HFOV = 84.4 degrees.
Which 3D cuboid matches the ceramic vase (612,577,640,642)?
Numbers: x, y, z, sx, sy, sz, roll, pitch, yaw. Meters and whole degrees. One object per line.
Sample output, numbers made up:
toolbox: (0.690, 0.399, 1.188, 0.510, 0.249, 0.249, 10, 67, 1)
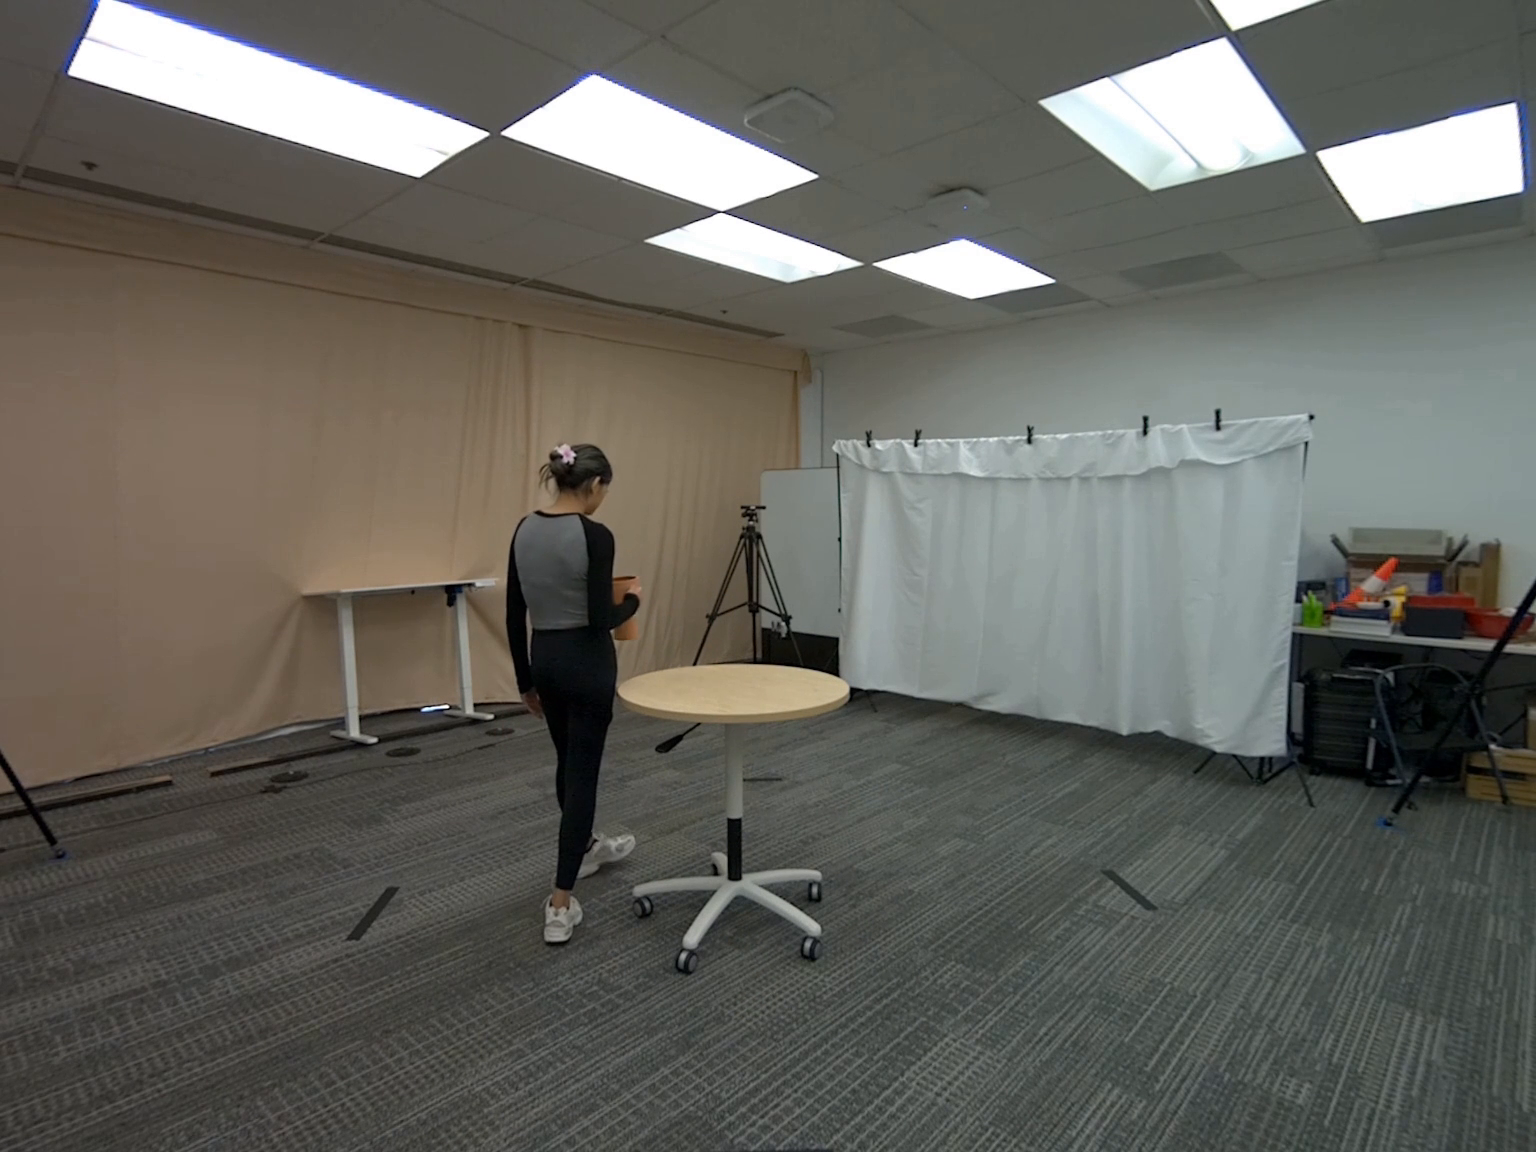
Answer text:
ceramic vase: (-0.526, 0.119, 3.104, 0.134, 0.219, 0.160, -4, 7, -4)
